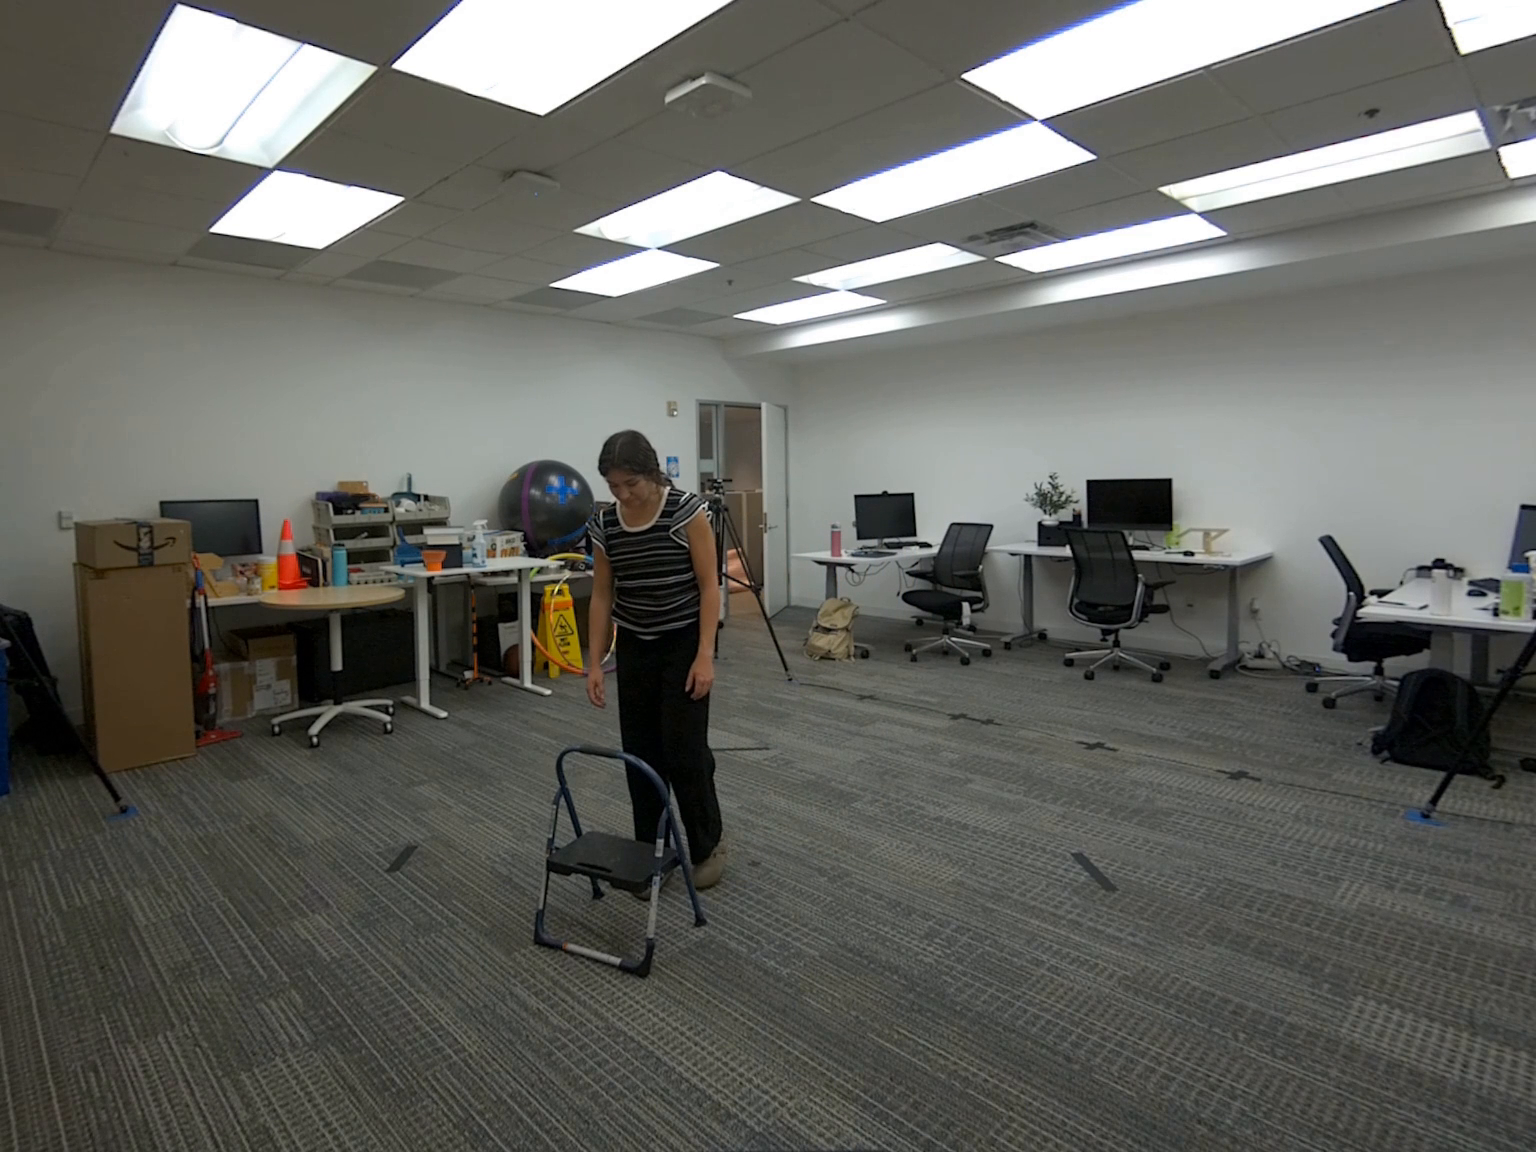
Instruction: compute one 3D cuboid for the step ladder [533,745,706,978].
[{"bbox_3d":[-0.464,0.810,2.627,0.441,0.603,0.342,1,5,26],"label":"step ladder"}]
